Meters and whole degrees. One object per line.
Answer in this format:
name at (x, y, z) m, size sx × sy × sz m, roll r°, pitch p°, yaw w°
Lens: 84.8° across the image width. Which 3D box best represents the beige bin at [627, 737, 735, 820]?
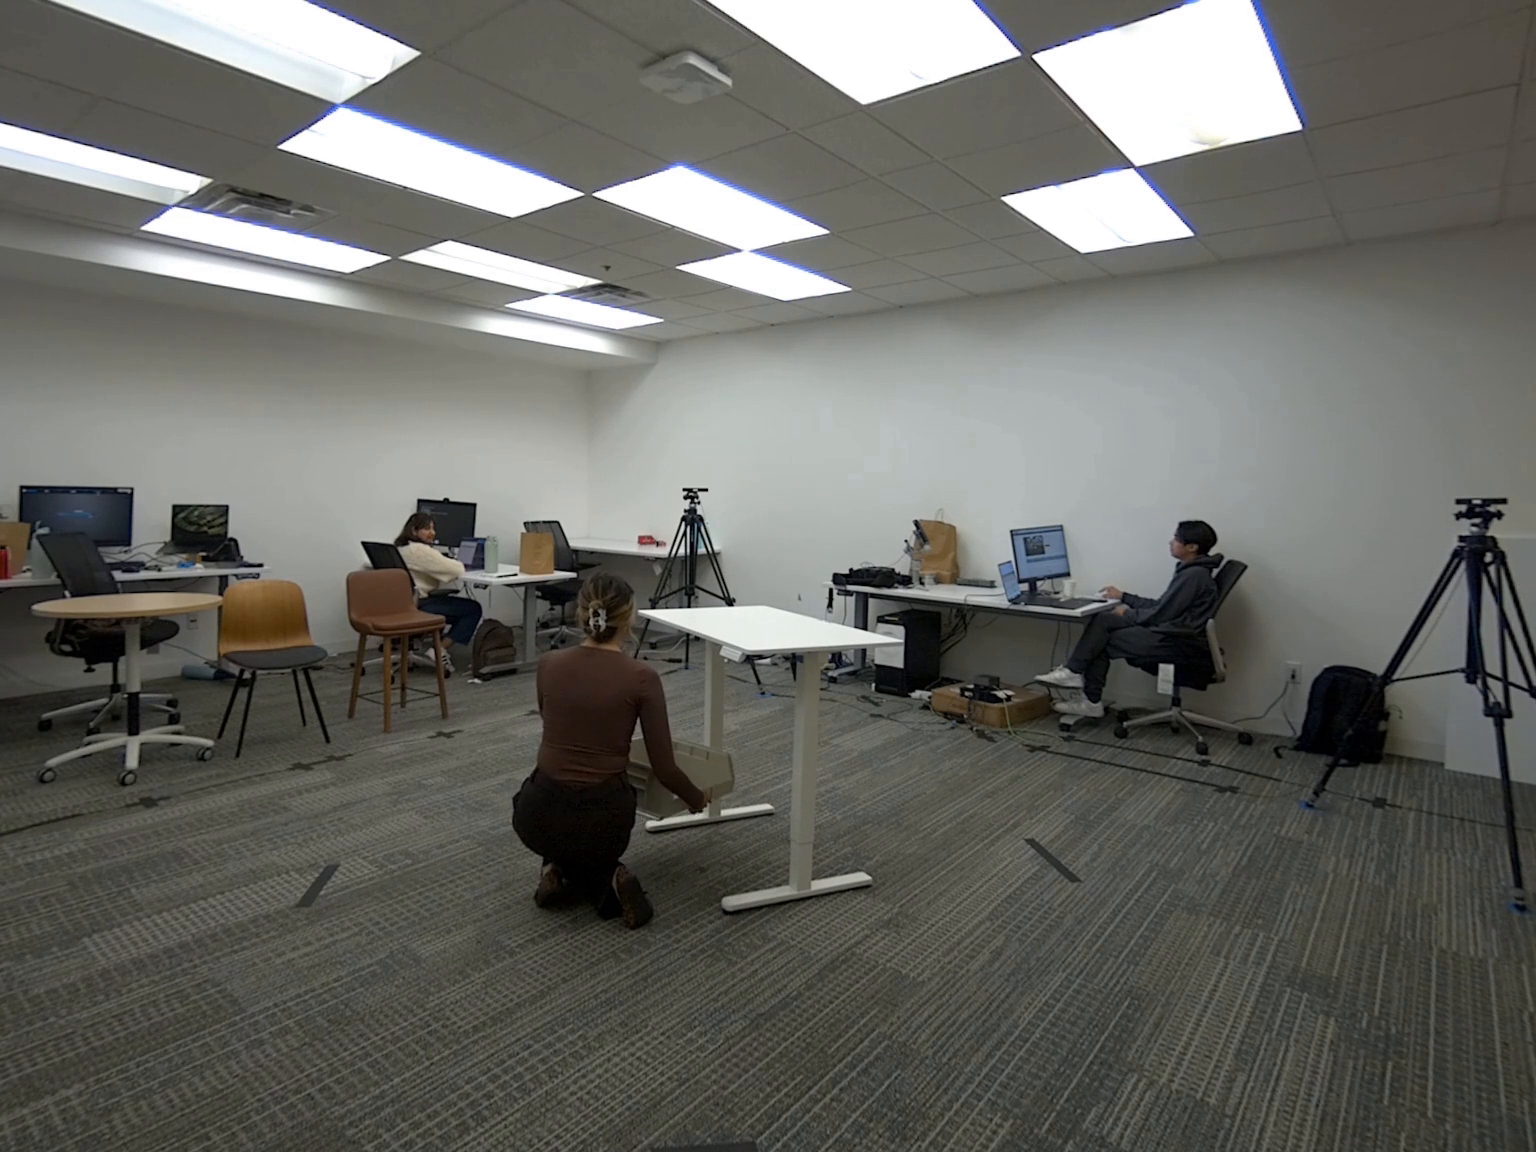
beige bin at (-0.391, 0.737, 3.155) m, size 0.389 × 0.189 × 0.410 m, roll 7°, pitch 2°, yaw 29°
